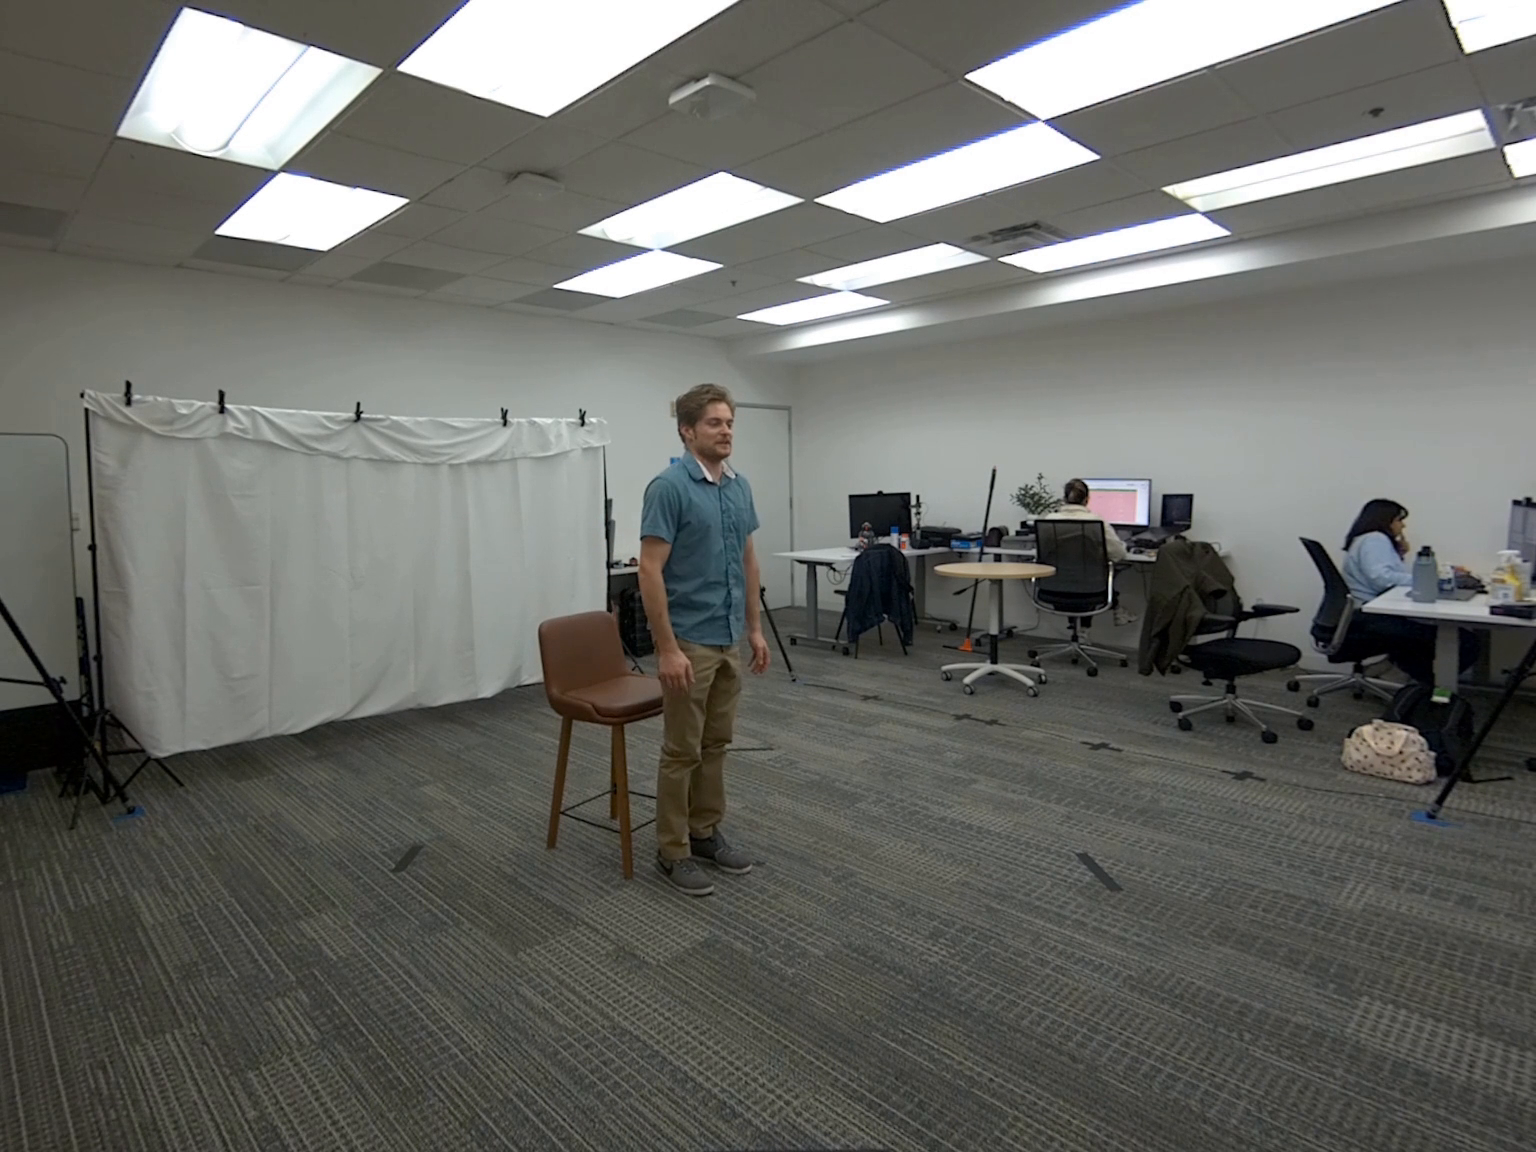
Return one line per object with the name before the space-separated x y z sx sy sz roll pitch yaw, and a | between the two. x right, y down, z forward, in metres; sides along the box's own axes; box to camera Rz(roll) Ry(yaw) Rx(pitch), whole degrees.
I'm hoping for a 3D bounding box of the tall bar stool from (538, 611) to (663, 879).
tall bar stool | -0.573 0.602 3.282 0.480 0.888 0.445 -1 2 36
